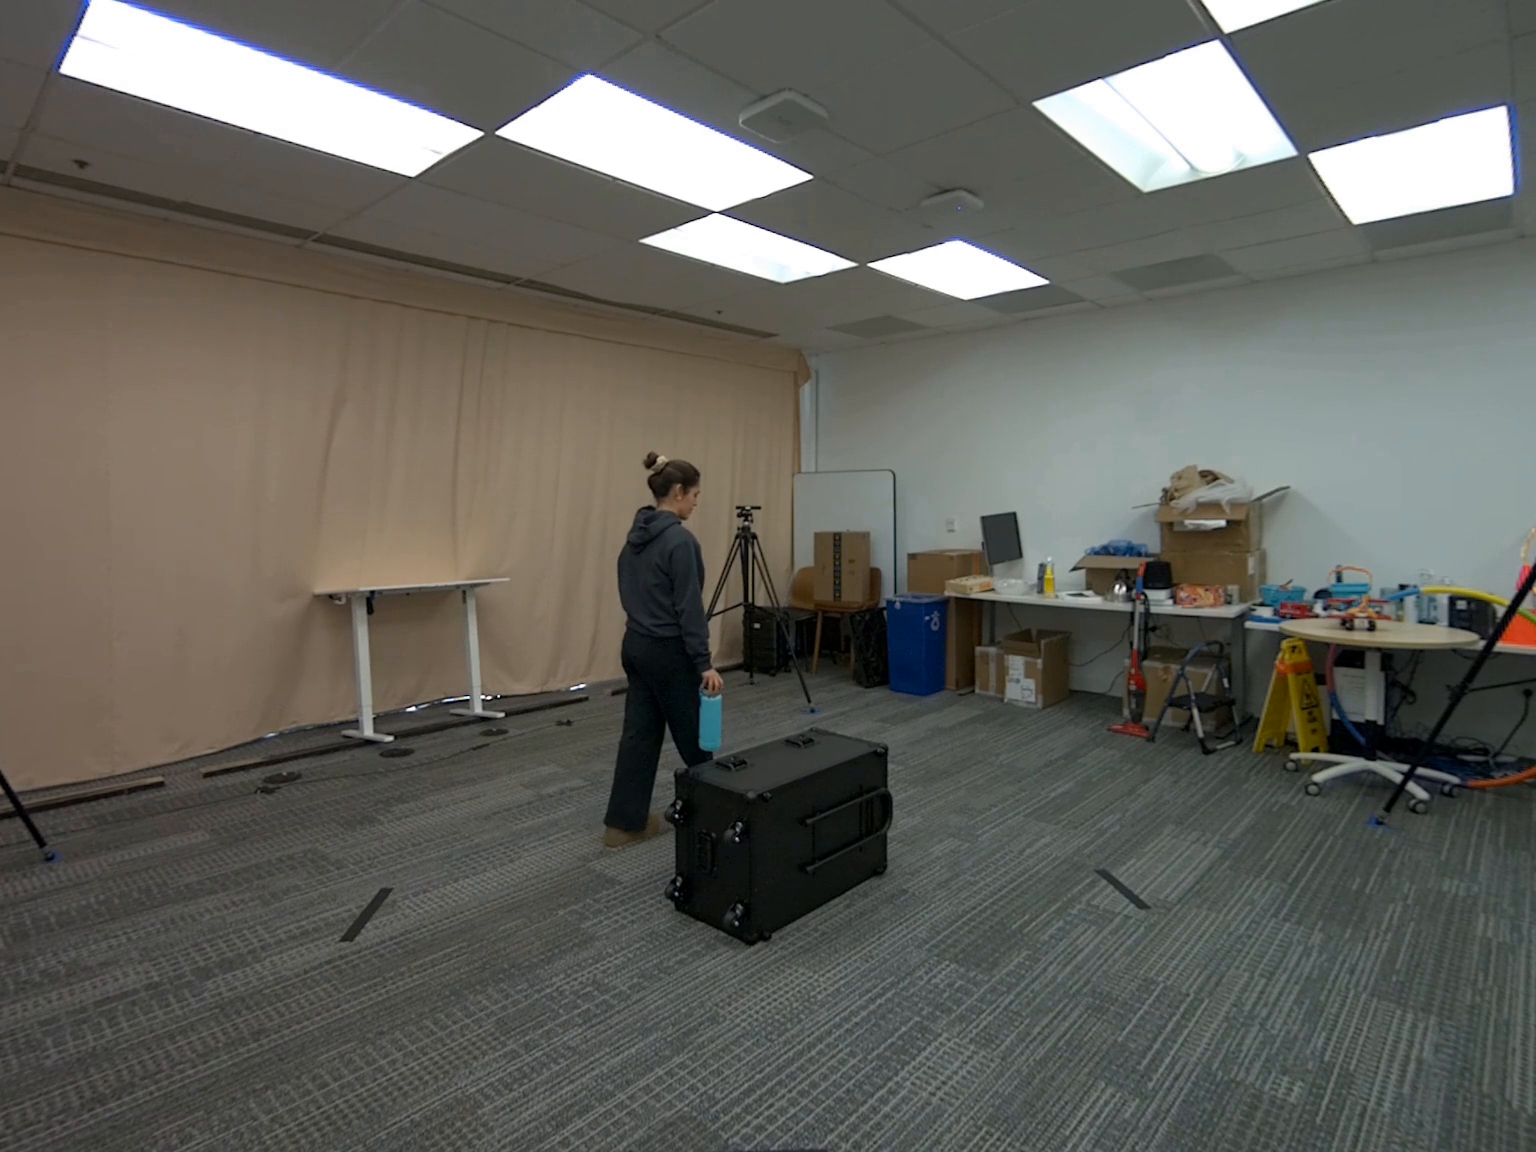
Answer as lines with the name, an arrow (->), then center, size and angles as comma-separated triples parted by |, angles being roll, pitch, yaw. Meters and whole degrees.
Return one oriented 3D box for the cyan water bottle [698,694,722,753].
cyan water bottle -> -0.218, 0.556, 3.415 | 0.092, 0.281, 0.093 | 0, 11, -2
